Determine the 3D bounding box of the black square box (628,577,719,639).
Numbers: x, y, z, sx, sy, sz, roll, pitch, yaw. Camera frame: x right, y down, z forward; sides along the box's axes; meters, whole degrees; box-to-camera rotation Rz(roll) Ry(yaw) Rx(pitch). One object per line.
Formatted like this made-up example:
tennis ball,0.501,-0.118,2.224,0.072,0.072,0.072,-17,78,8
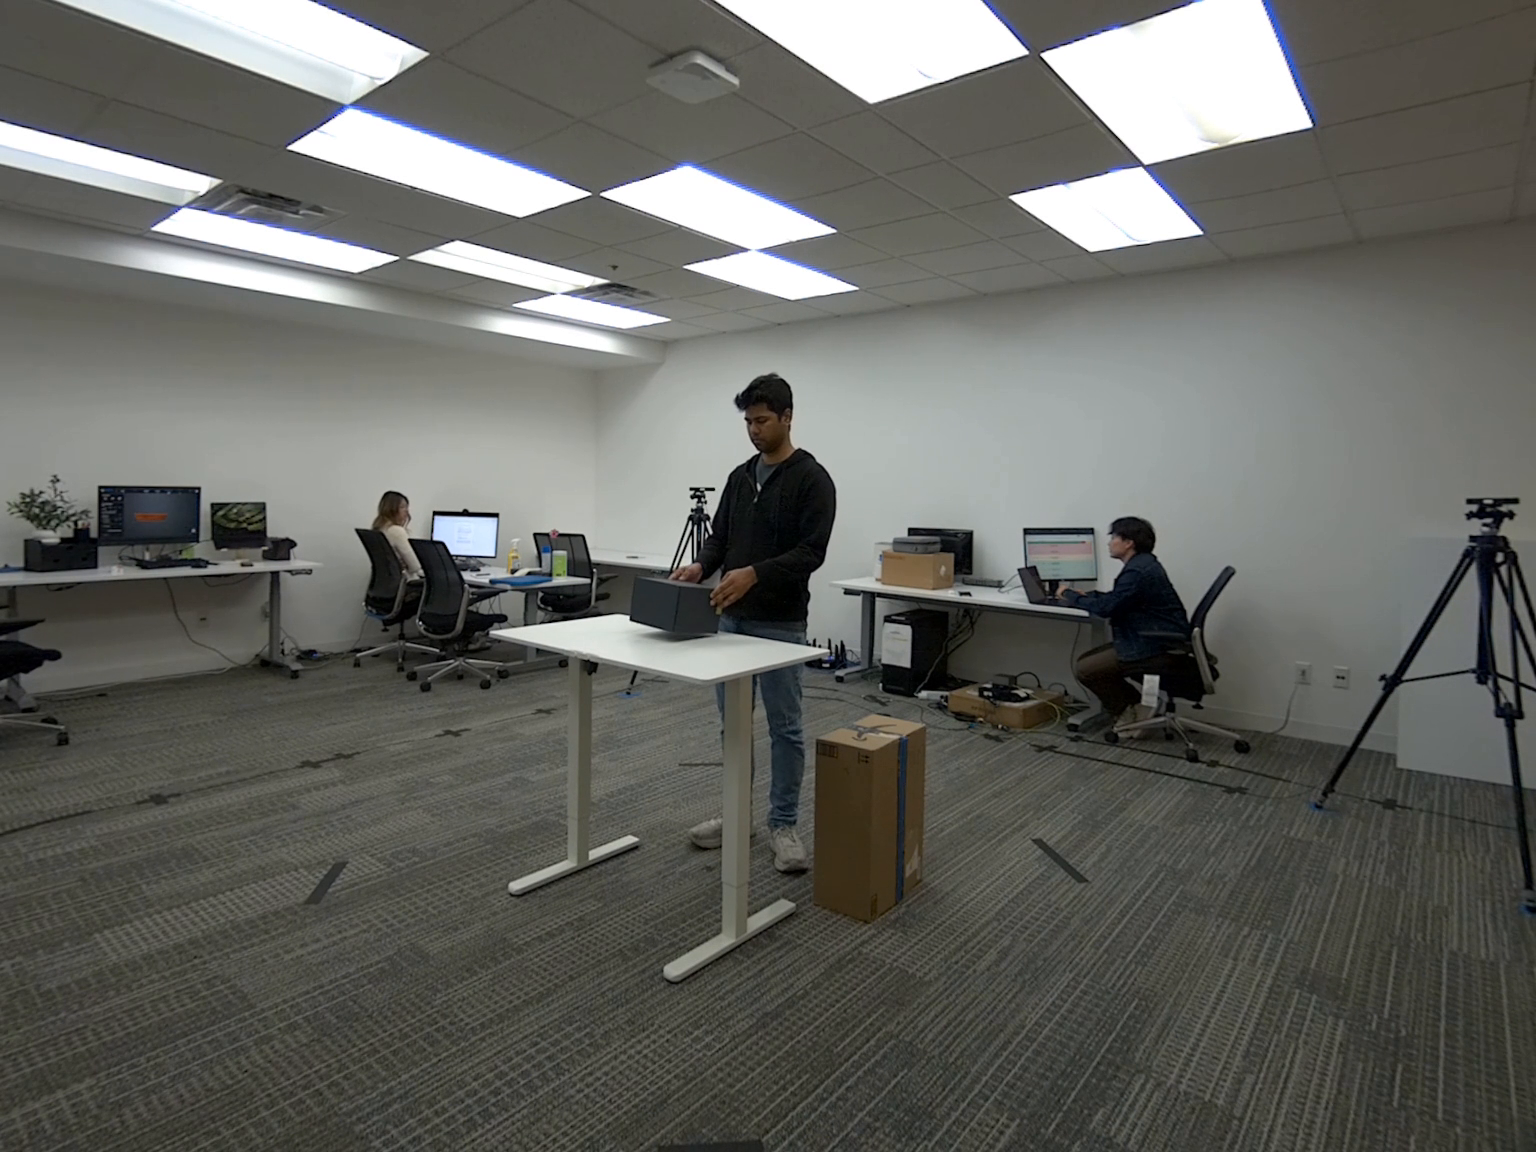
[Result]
black square box,-0.317,0.096,2.904,0.236,0.156,0.209,9,1,42
